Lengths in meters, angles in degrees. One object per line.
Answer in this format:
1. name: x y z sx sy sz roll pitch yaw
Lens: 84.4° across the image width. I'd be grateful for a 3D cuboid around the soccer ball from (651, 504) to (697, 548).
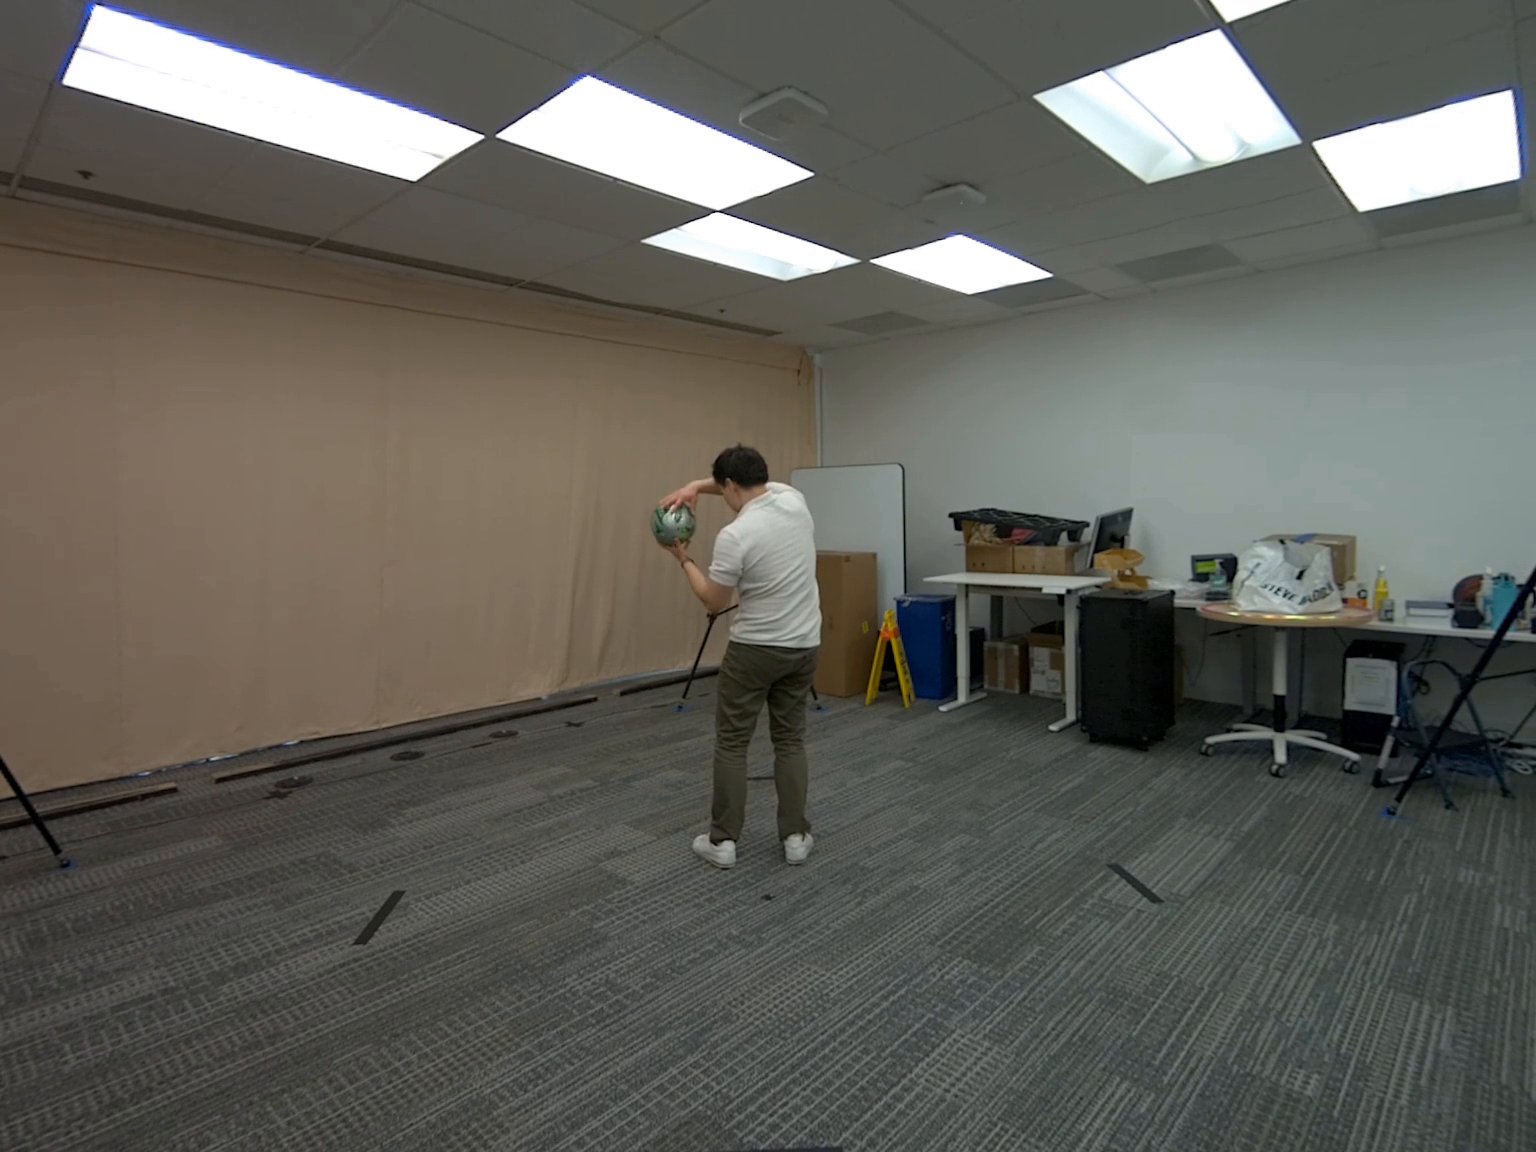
1. soccer ball: -0.370 -0.217 3.416 0.187 0.187 0.188 -1 4 -2
